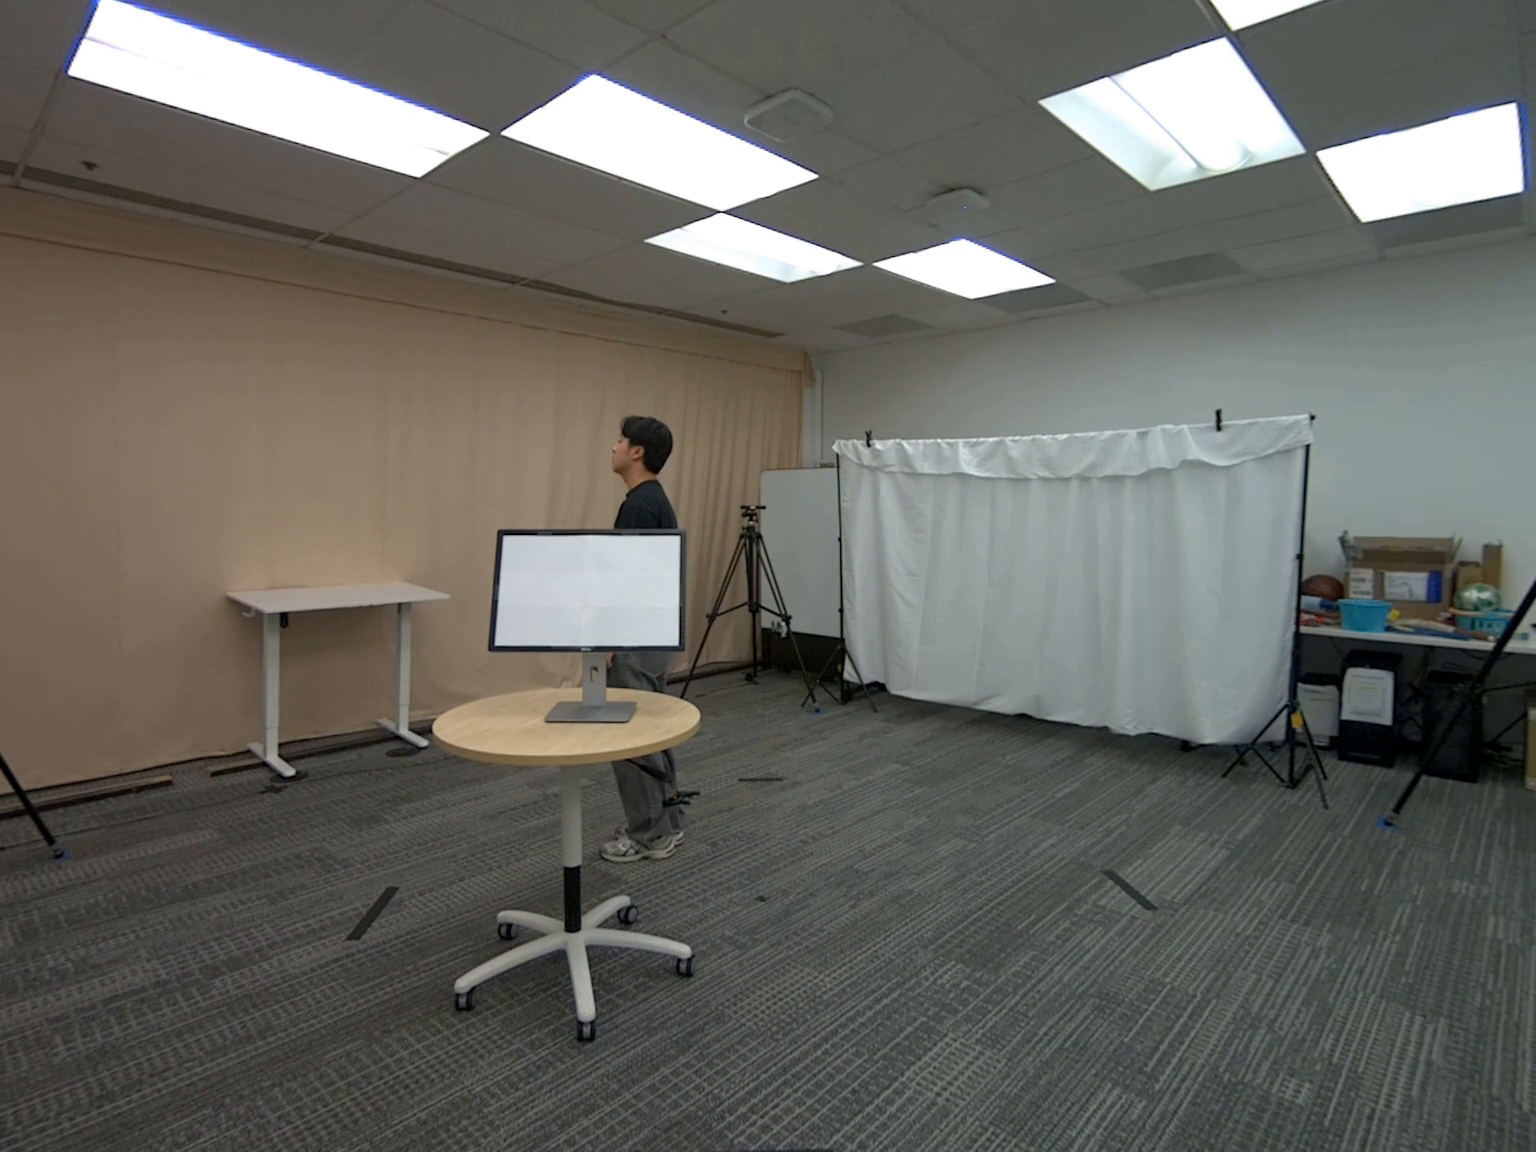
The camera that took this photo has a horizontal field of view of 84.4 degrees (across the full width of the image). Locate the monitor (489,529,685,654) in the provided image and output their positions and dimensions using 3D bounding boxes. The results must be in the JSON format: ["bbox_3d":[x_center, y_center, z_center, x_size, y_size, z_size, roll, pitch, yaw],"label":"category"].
[{"bbox_3d":[-0.512,0.143,2.473,0.564,0.565,0.221,0,2,3],"label":"monitor"}]
